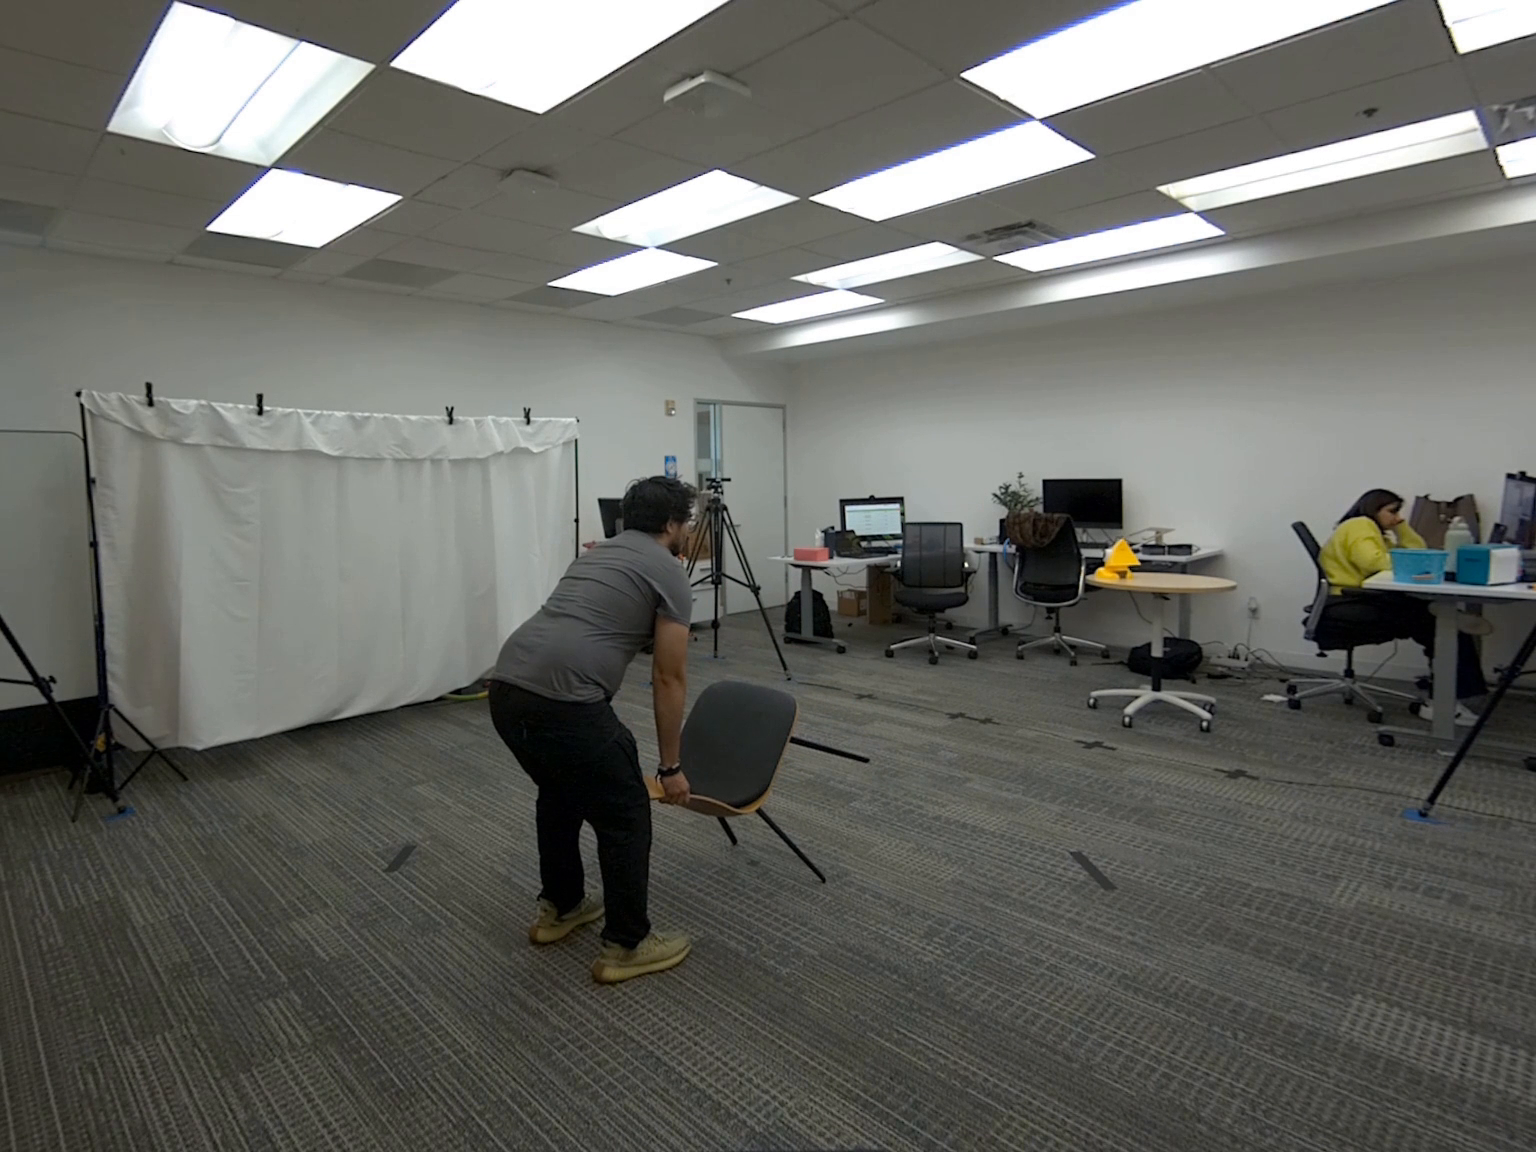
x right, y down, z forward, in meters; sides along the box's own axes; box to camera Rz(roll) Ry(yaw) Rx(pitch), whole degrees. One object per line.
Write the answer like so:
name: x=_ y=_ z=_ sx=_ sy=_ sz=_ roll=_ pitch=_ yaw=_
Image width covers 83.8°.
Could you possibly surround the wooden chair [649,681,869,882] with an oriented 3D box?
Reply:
wooden chair: x=-0.111 y=0.623 z=2.931 sx=0.493 sy=0.527 sz=0.843 roll=4 pitch=-24 yaw=44
